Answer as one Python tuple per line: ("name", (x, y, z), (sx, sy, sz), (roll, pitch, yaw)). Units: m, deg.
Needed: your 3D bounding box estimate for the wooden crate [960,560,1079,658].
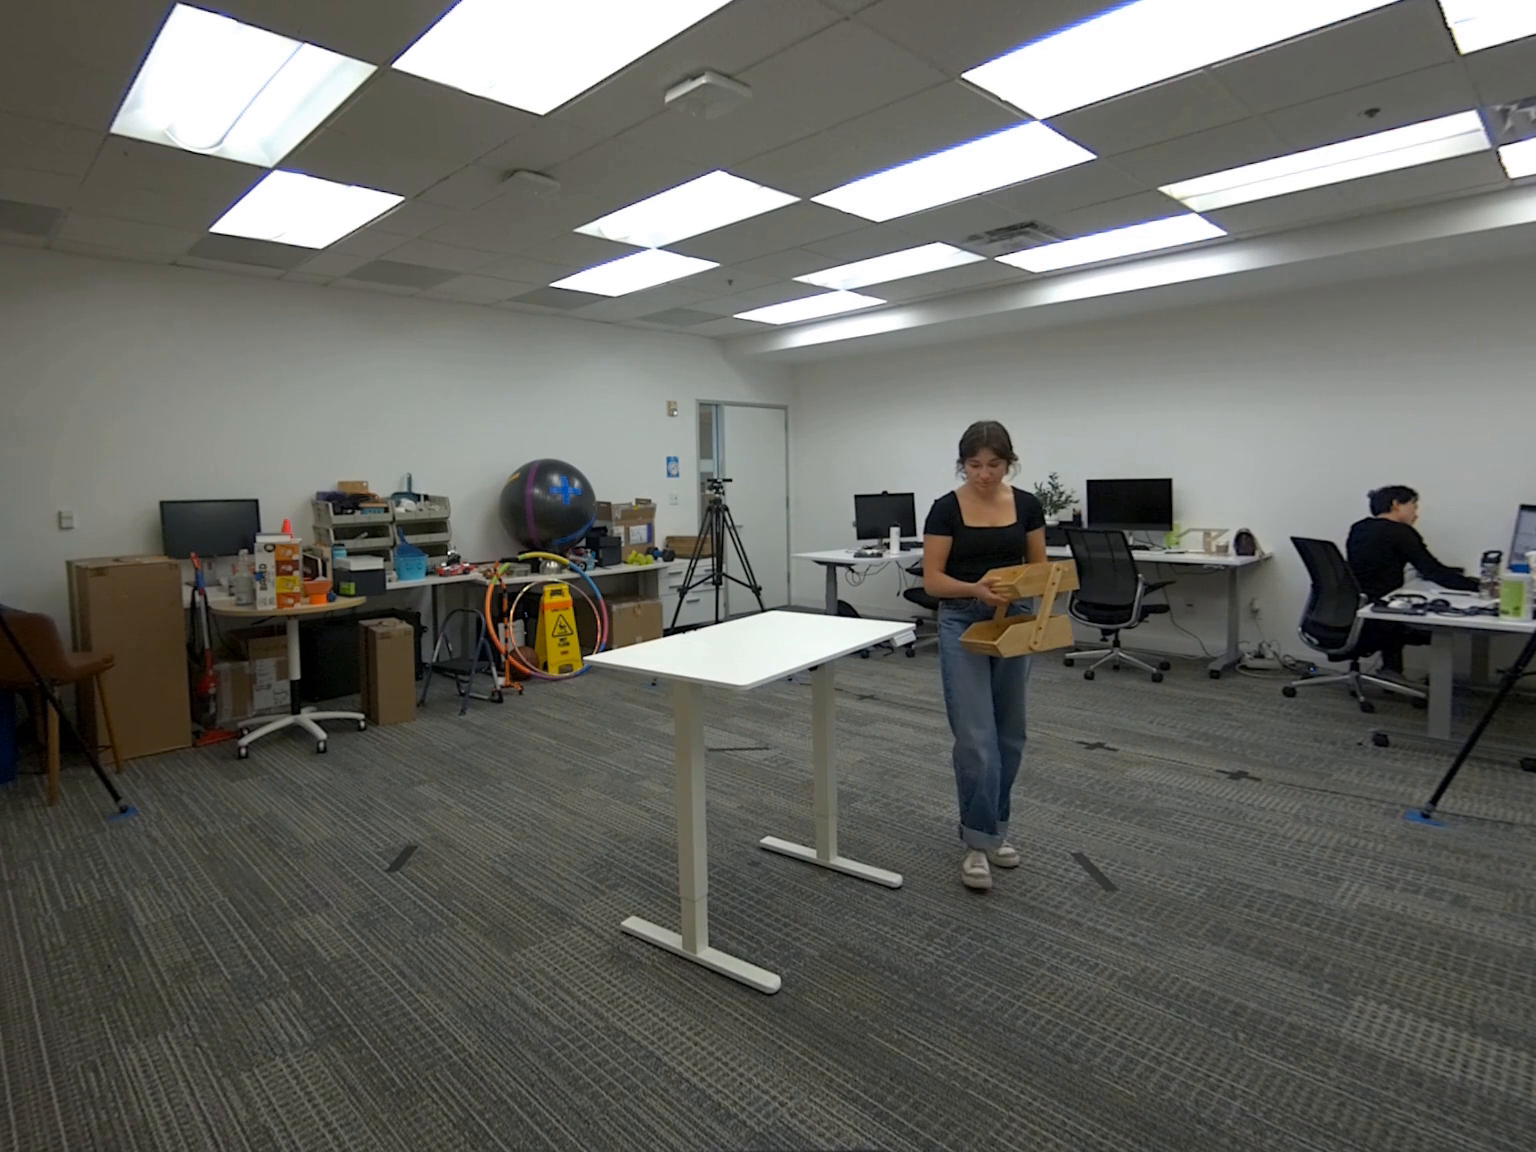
("wooden crate", (0.792, 0.099, 2.785), (0.300, 0.274, 0.326), (-7, -2, -8))
